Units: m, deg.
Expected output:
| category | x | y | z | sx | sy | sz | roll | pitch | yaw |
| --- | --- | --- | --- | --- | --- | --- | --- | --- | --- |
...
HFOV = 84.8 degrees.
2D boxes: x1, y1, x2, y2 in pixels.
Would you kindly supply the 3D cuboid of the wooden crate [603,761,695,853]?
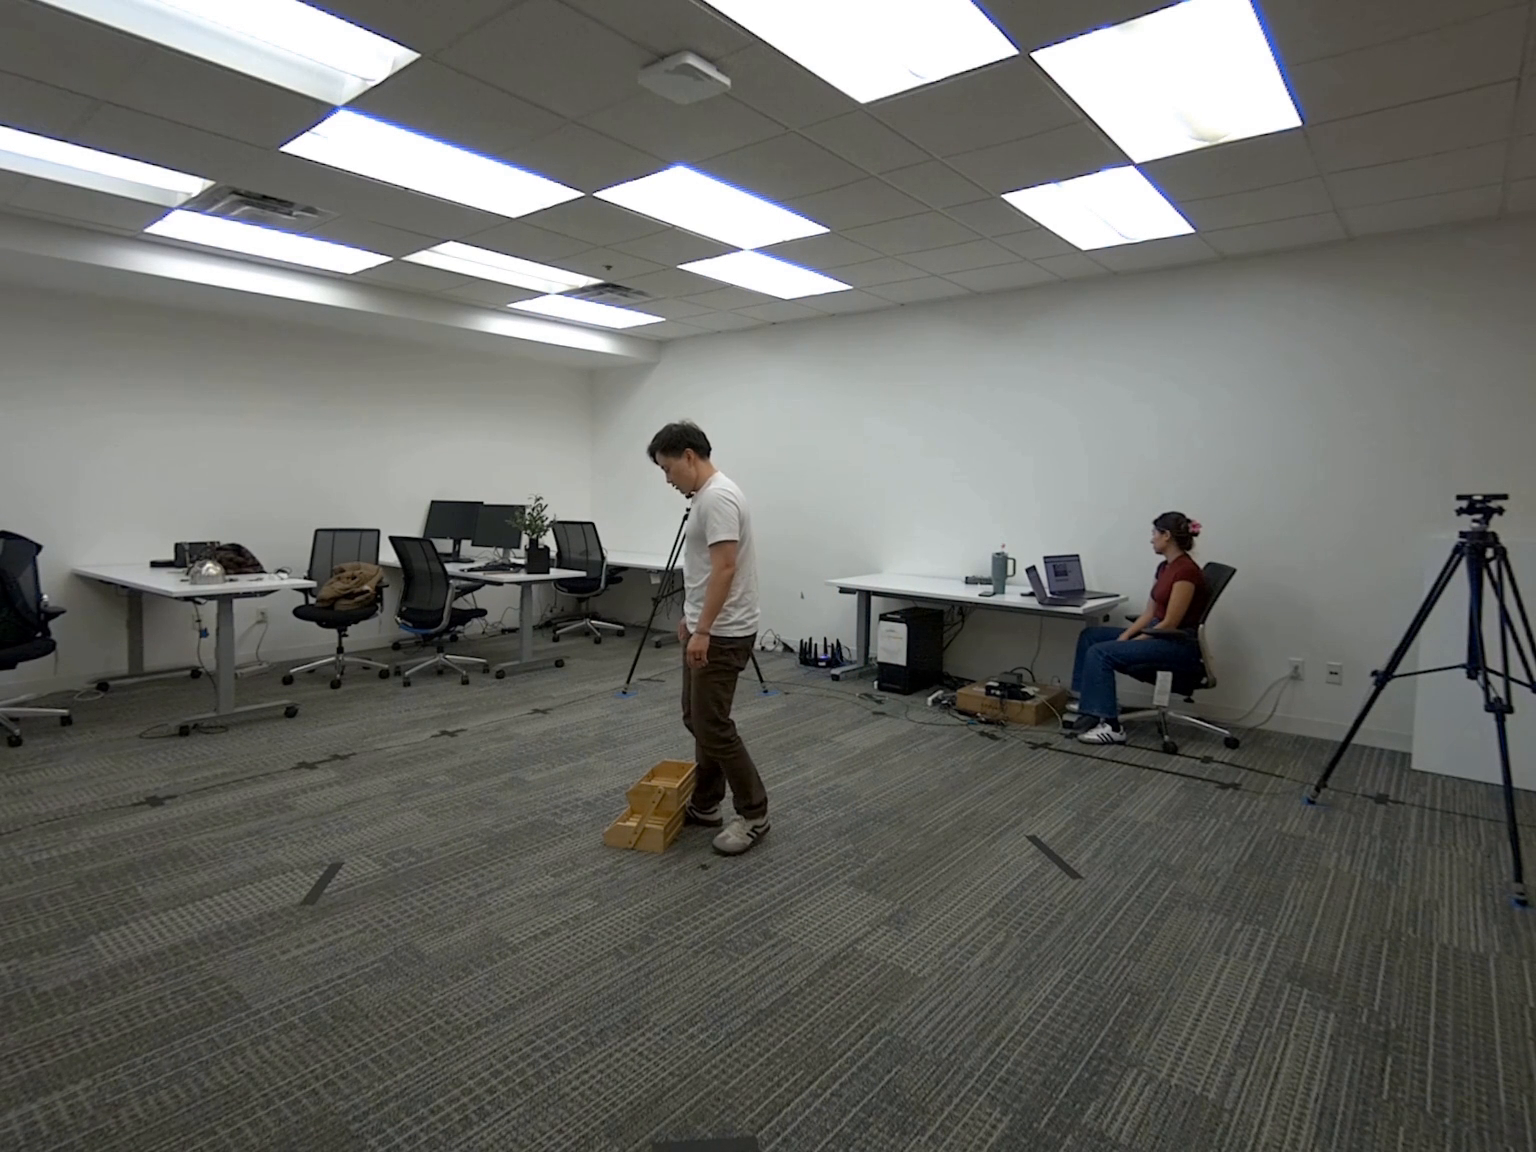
| category | x | y | z | sx | sy | sz | roll | pitch | yaw |
| --- | --- | --- | --- | --- | --- | --- | --- | --- | --- |
| wooden crate | -0.479 | 0.905 | 3.398 | 0.306 | 0.272 | 0.321 | 3 | 5 | 12 |
